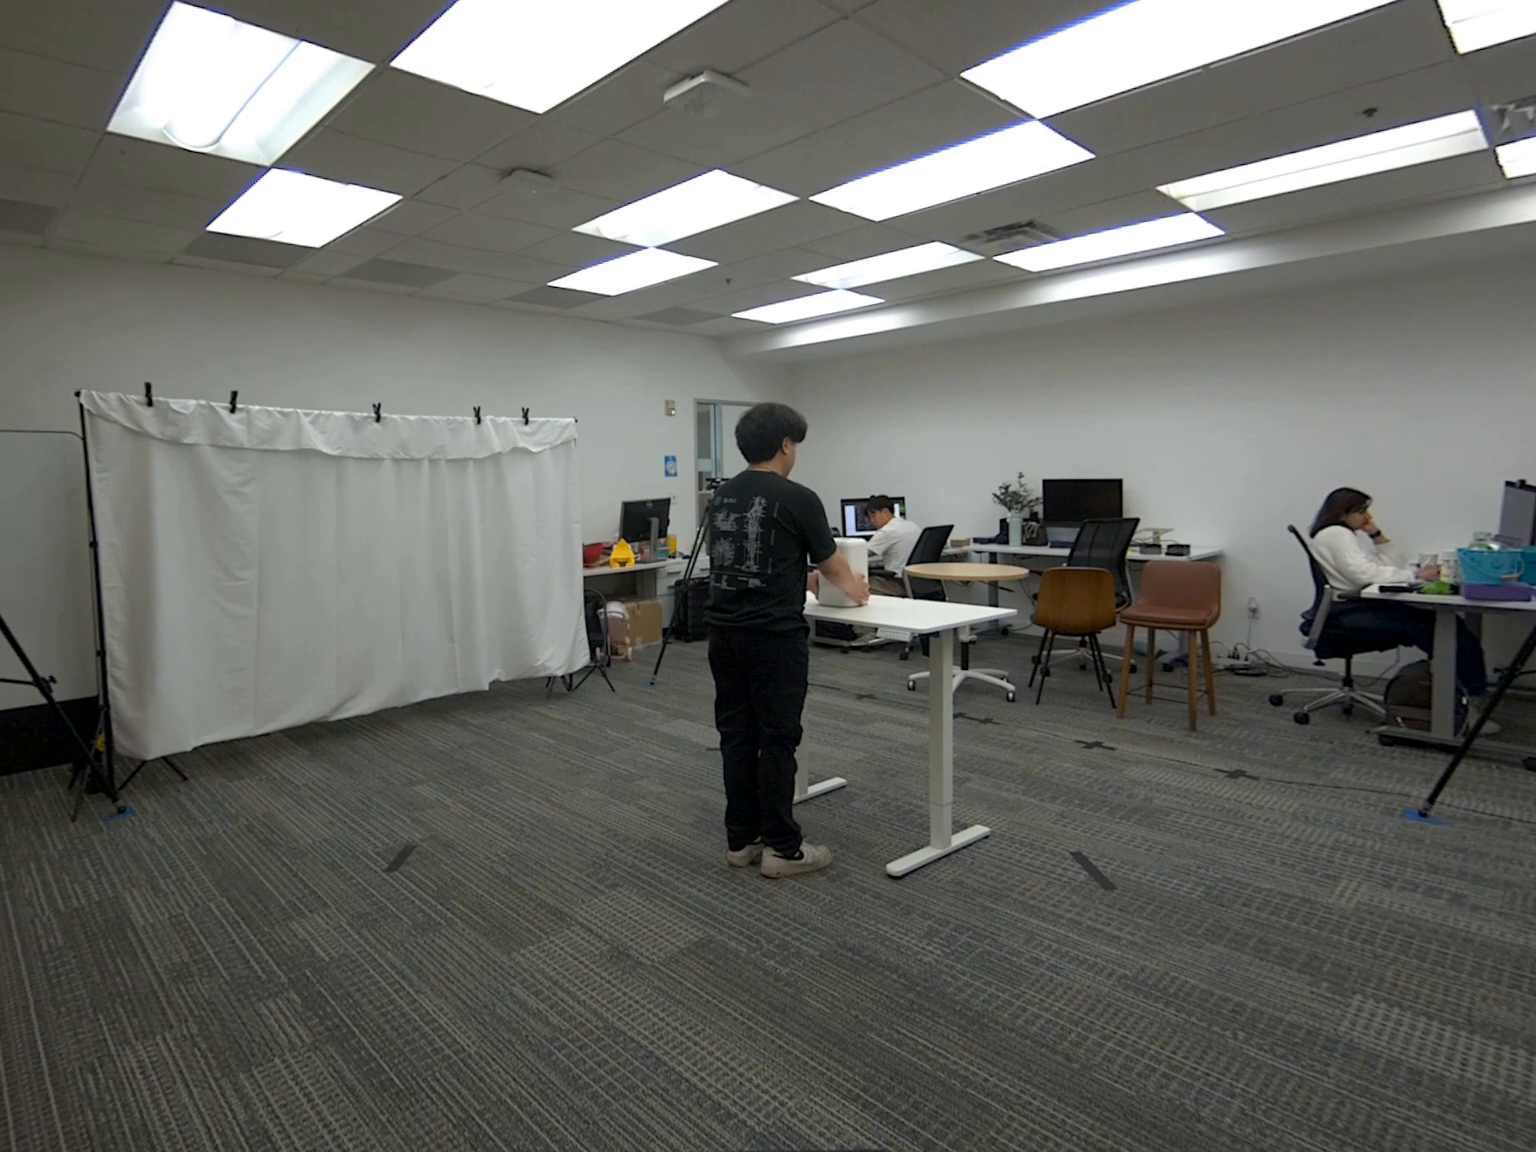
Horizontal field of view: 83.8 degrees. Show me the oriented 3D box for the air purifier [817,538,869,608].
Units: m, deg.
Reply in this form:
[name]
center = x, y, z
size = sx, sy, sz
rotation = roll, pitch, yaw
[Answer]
[air purifier]
center = 0.307, -0.019, 3.444
size = 0.177, 0.264, 0.166
rotation = 3, 5, 41
